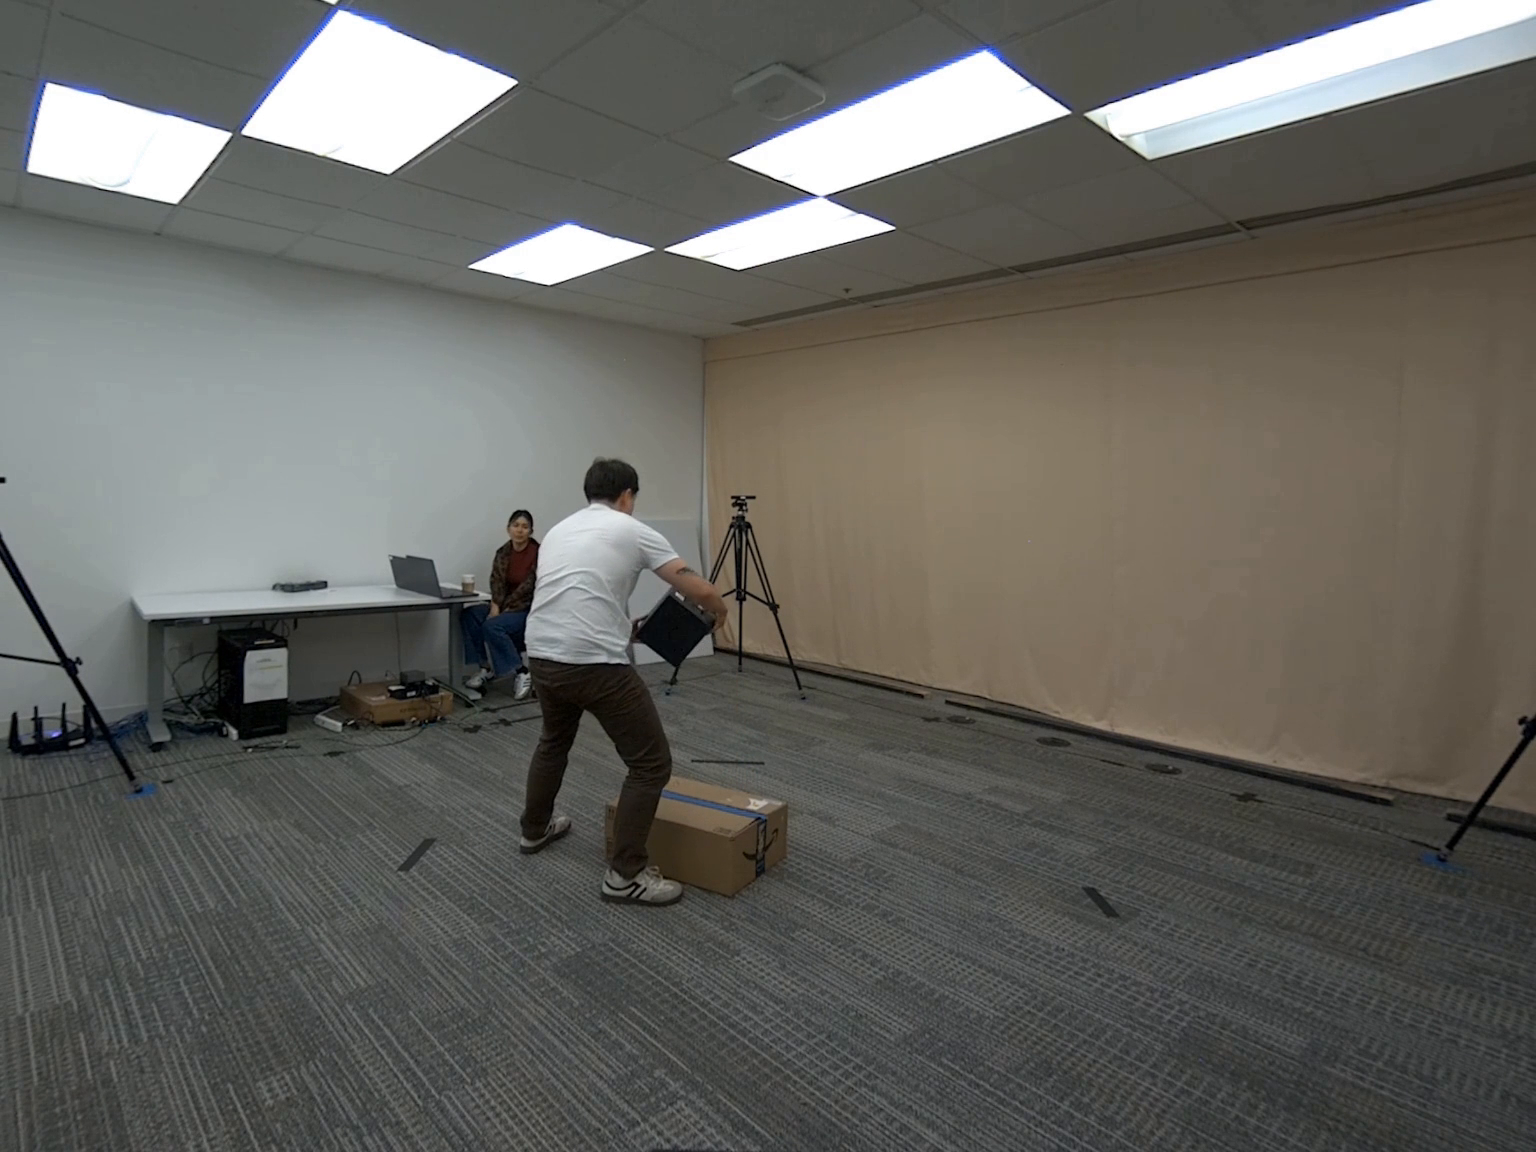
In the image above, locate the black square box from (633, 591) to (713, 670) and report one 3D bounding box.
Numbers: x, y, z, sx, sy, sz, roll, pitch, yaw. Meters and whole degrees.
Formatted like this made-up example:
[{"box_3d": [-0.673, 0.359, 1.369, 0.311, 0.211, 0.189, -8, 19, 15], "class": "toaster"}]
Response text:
[{"box_3d": [-0.369, 0.193, 3.348, 0.216, 0.227, 0.156, 39, 15, -4], "class": "black square box"}]
